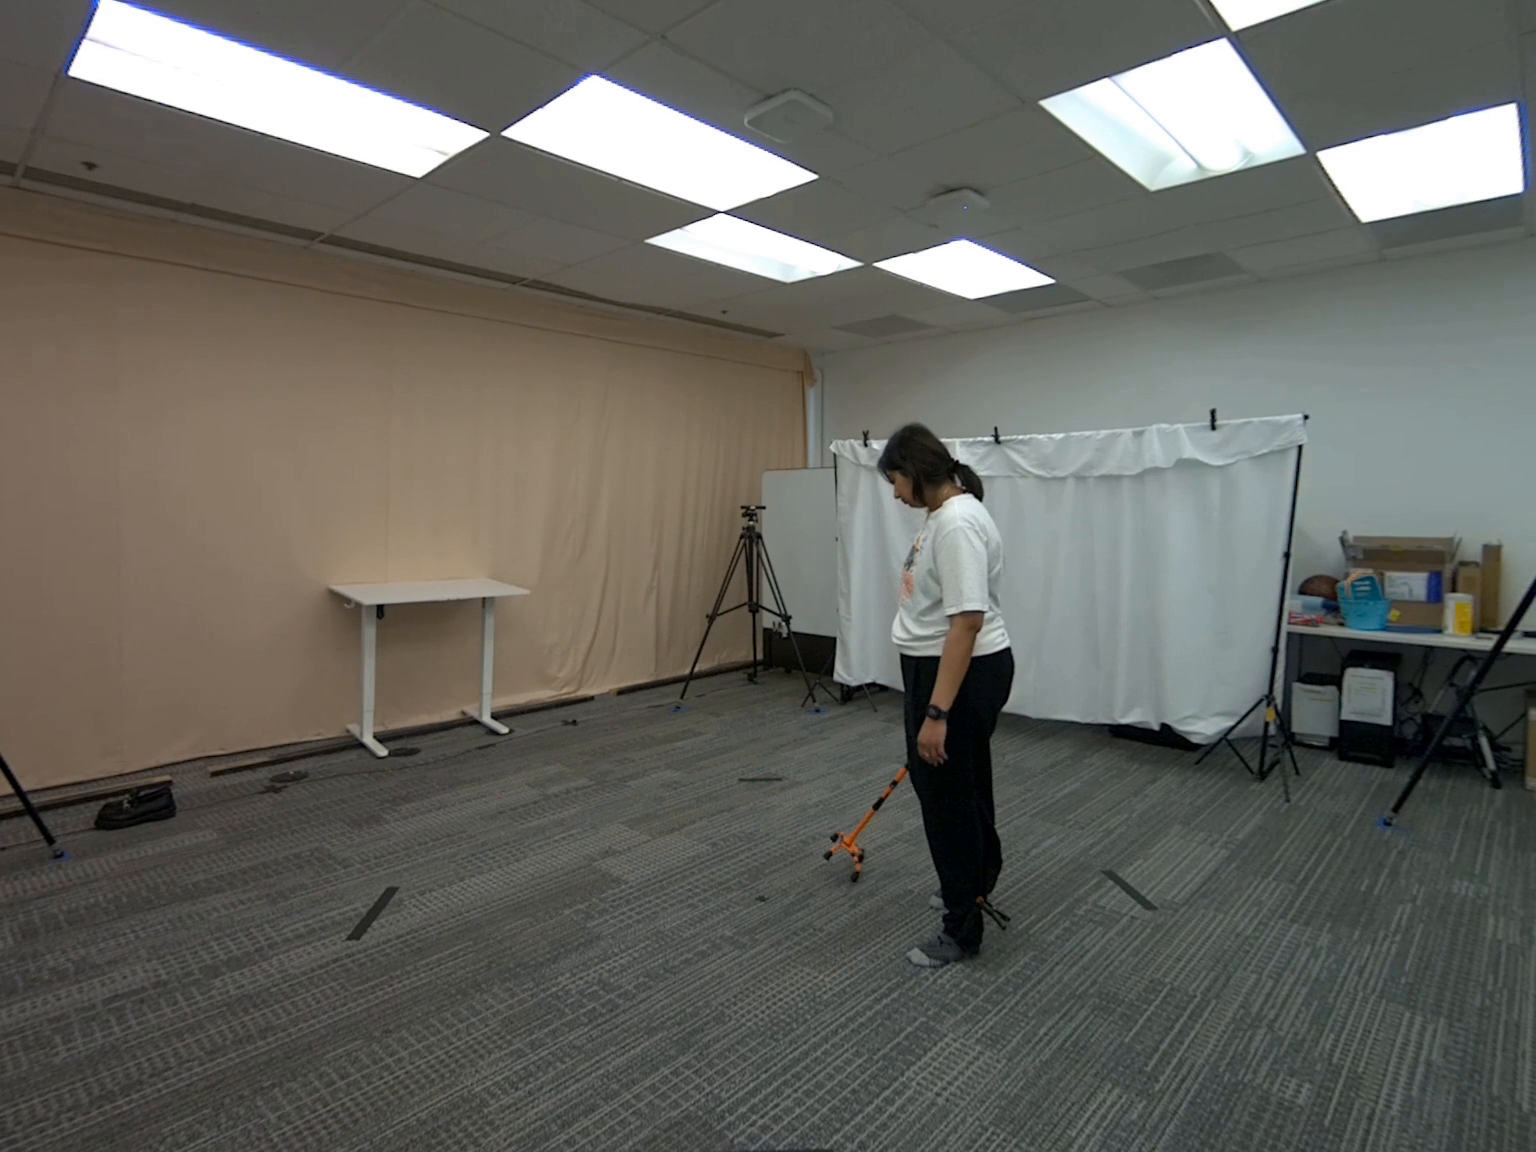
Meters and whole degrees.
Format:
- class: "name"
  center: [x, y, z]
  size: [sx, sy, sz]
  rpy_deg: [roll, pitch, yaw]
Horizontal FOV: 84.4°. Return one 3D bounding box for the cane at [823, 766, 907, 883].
- class: "cane"
  center: [0.531, 0.720, 3.121]
  size: [0.154, 0.908, 0.203]
  rpy_deg: [36, 11, 9]
